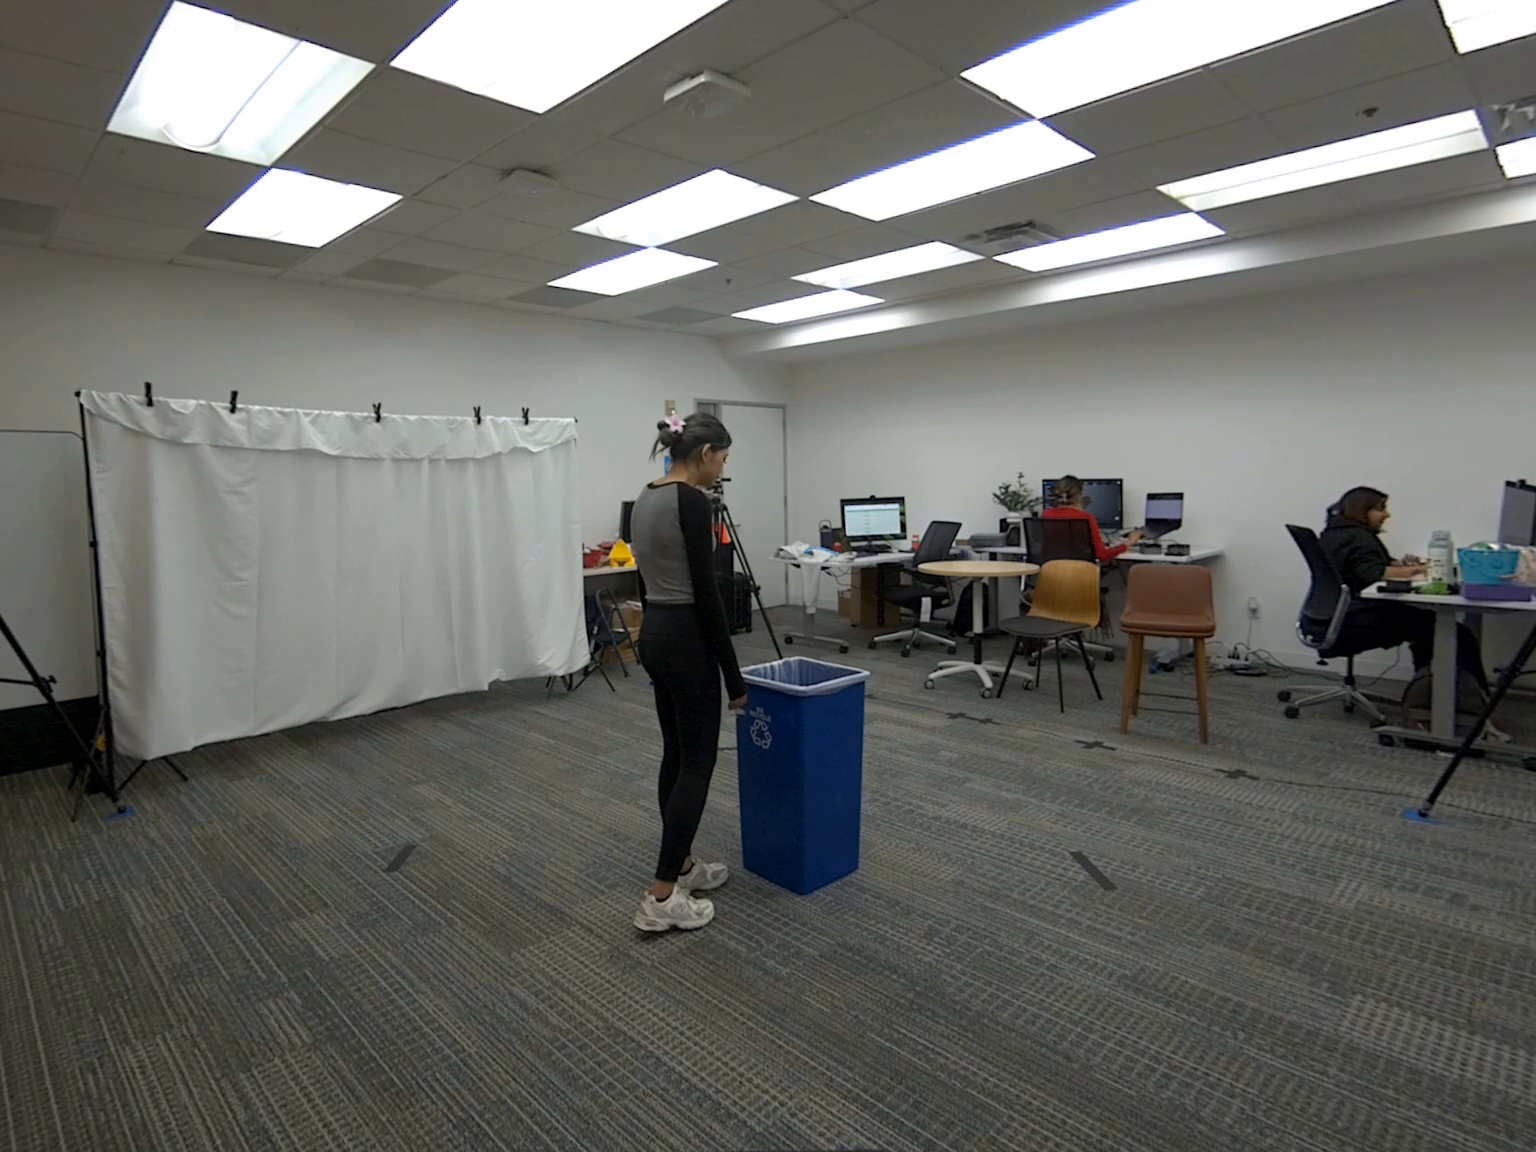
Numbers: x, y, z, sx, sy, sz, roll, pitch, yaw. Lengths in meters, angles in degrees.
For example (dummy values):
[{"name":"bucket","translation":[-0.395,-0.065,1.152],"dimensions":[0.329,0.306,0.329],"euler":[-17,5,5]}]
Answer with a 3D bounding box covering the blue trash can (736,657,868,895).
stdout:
[{"name":"blue trash can","translation":[0.125,0.690,3.033],"dimensions":[0.368,0.711,0.385],"euler":[-5,6,-43]}]
